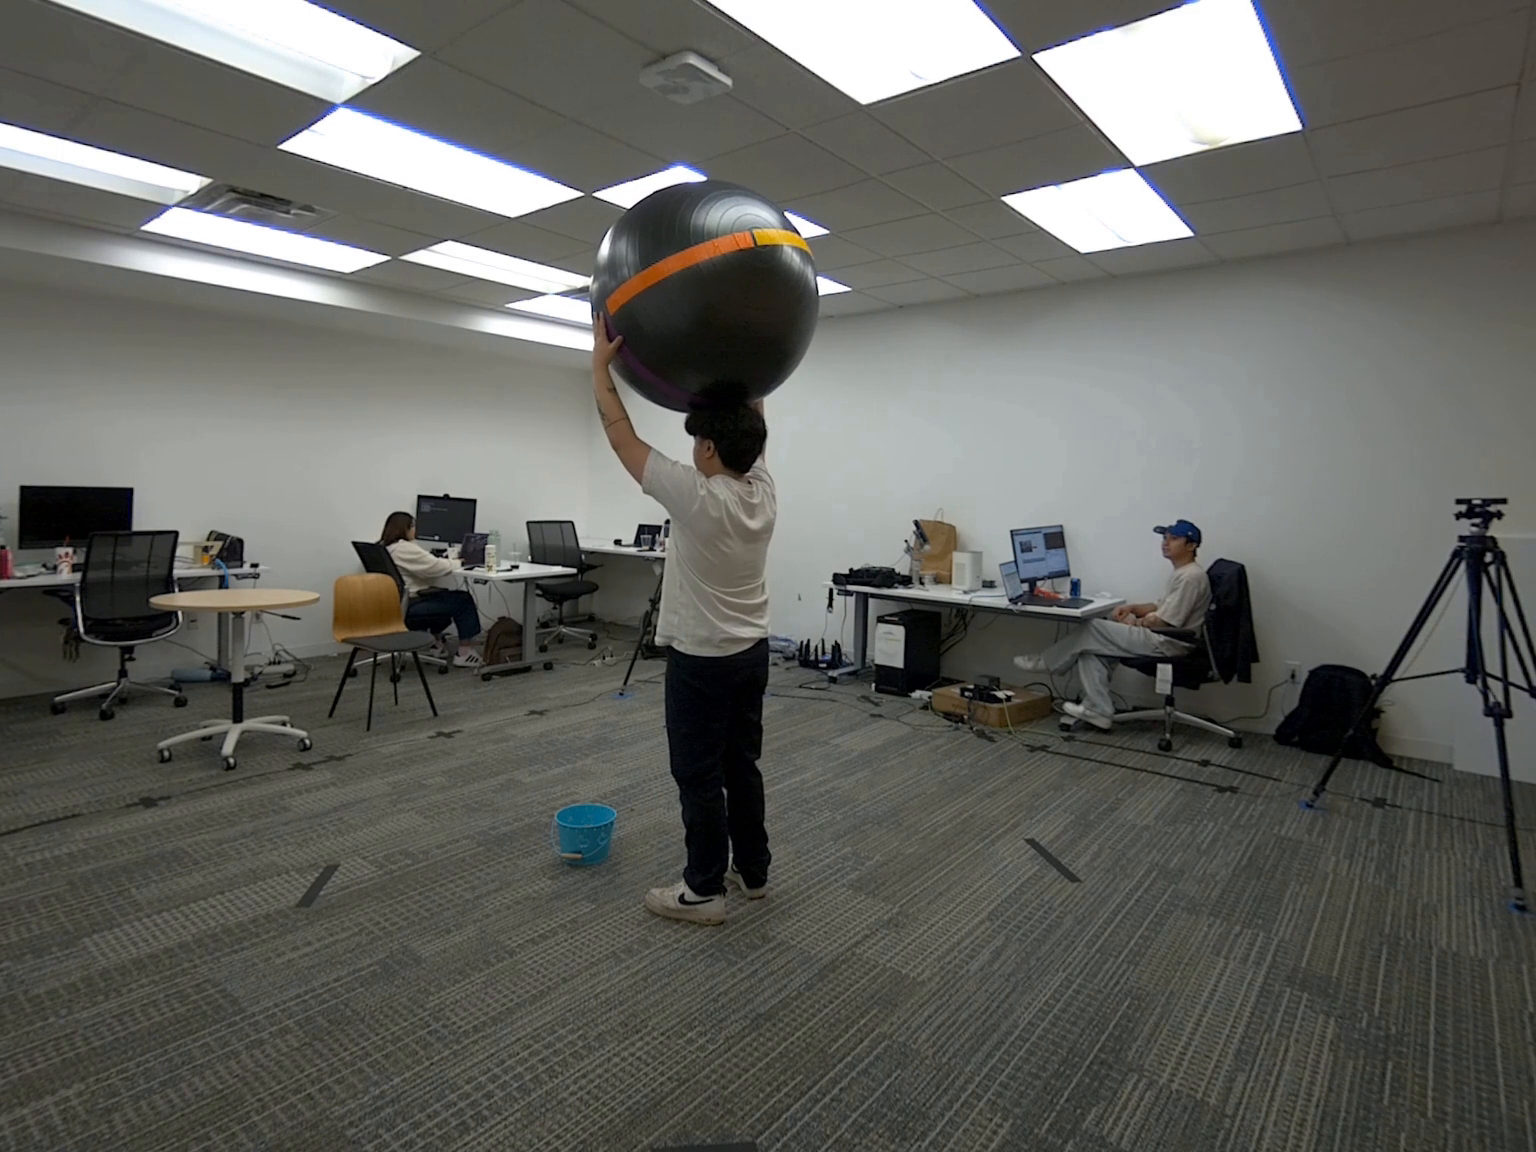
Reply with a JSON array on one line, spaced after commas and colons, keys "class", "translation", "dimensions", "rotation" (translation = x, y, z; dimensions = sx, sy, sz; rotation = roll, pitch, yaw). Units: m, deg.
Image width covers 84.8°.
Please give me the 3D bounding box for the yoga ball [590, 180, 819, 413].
[{"class": "yoga ball", "translation": [-0.218, -0.915, 2.834], "dimensions": [0.757, 0.755, 0.762], "rotation": [1, 4, -2]}]
